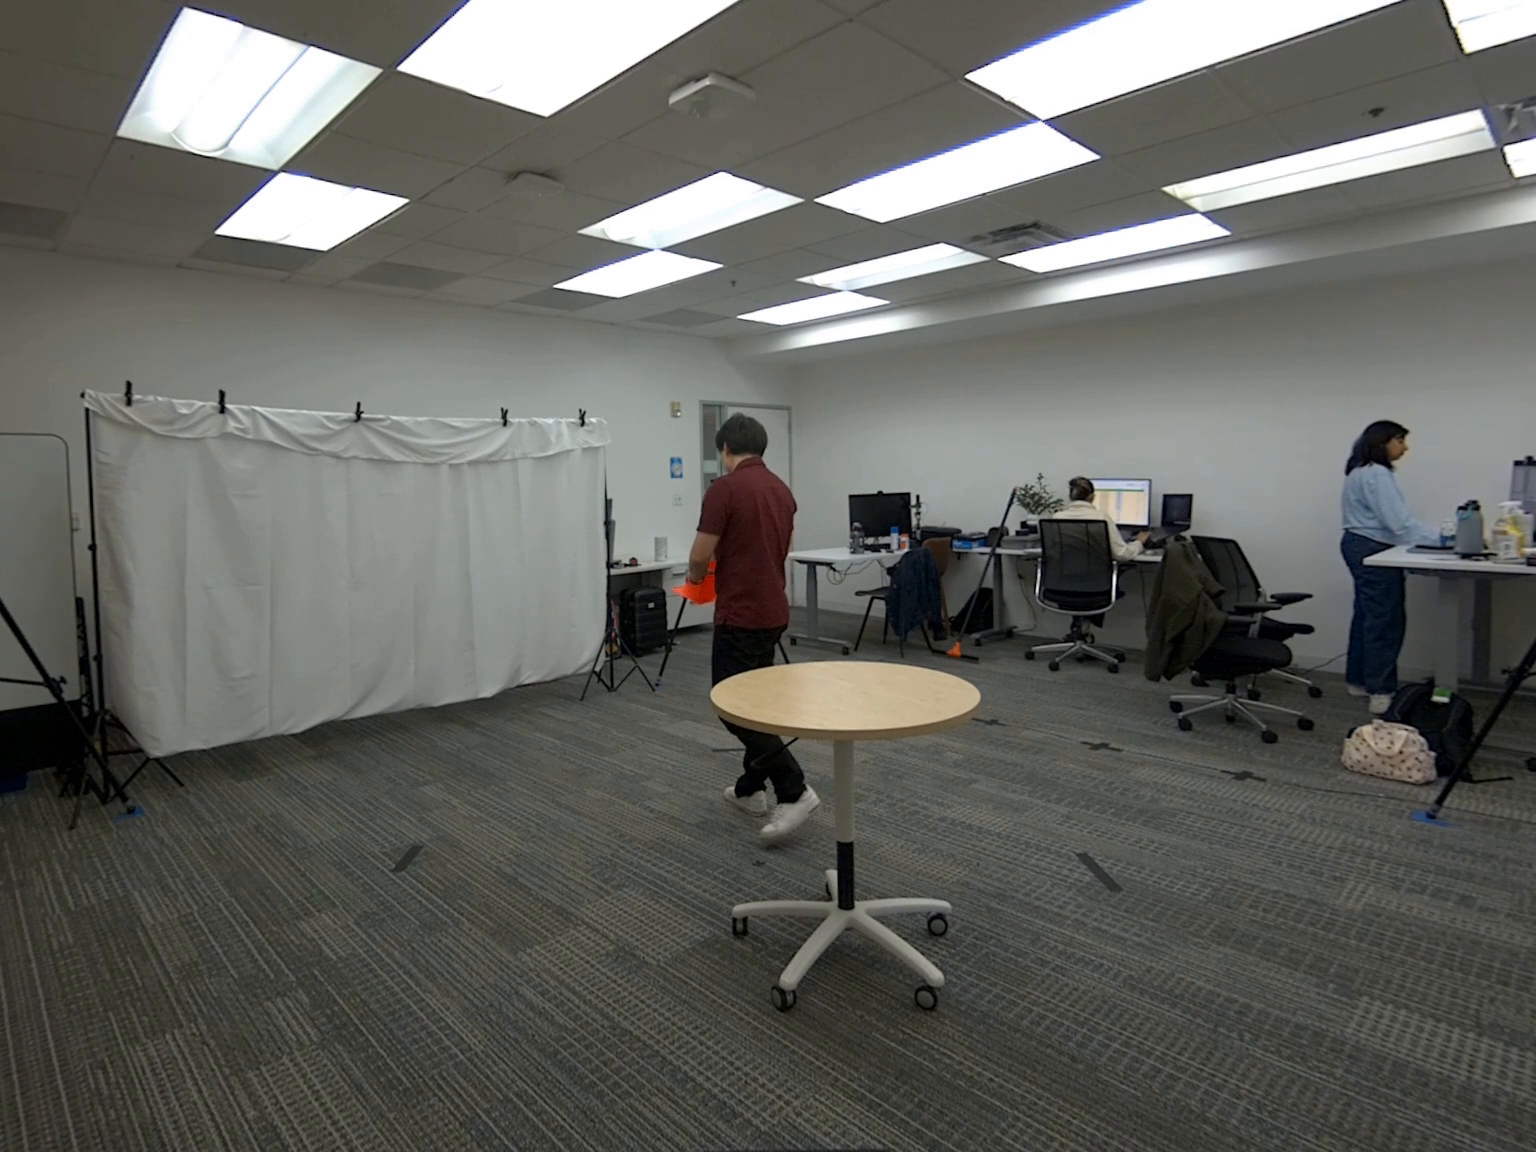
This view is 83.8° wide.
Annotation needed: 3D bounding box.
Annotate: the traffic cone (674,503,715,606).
[{"bbox_3d":[-0.251,-0.100,3.728,0.210,0.379,0.201,13,17,23],"label":"traffic cone"}]
